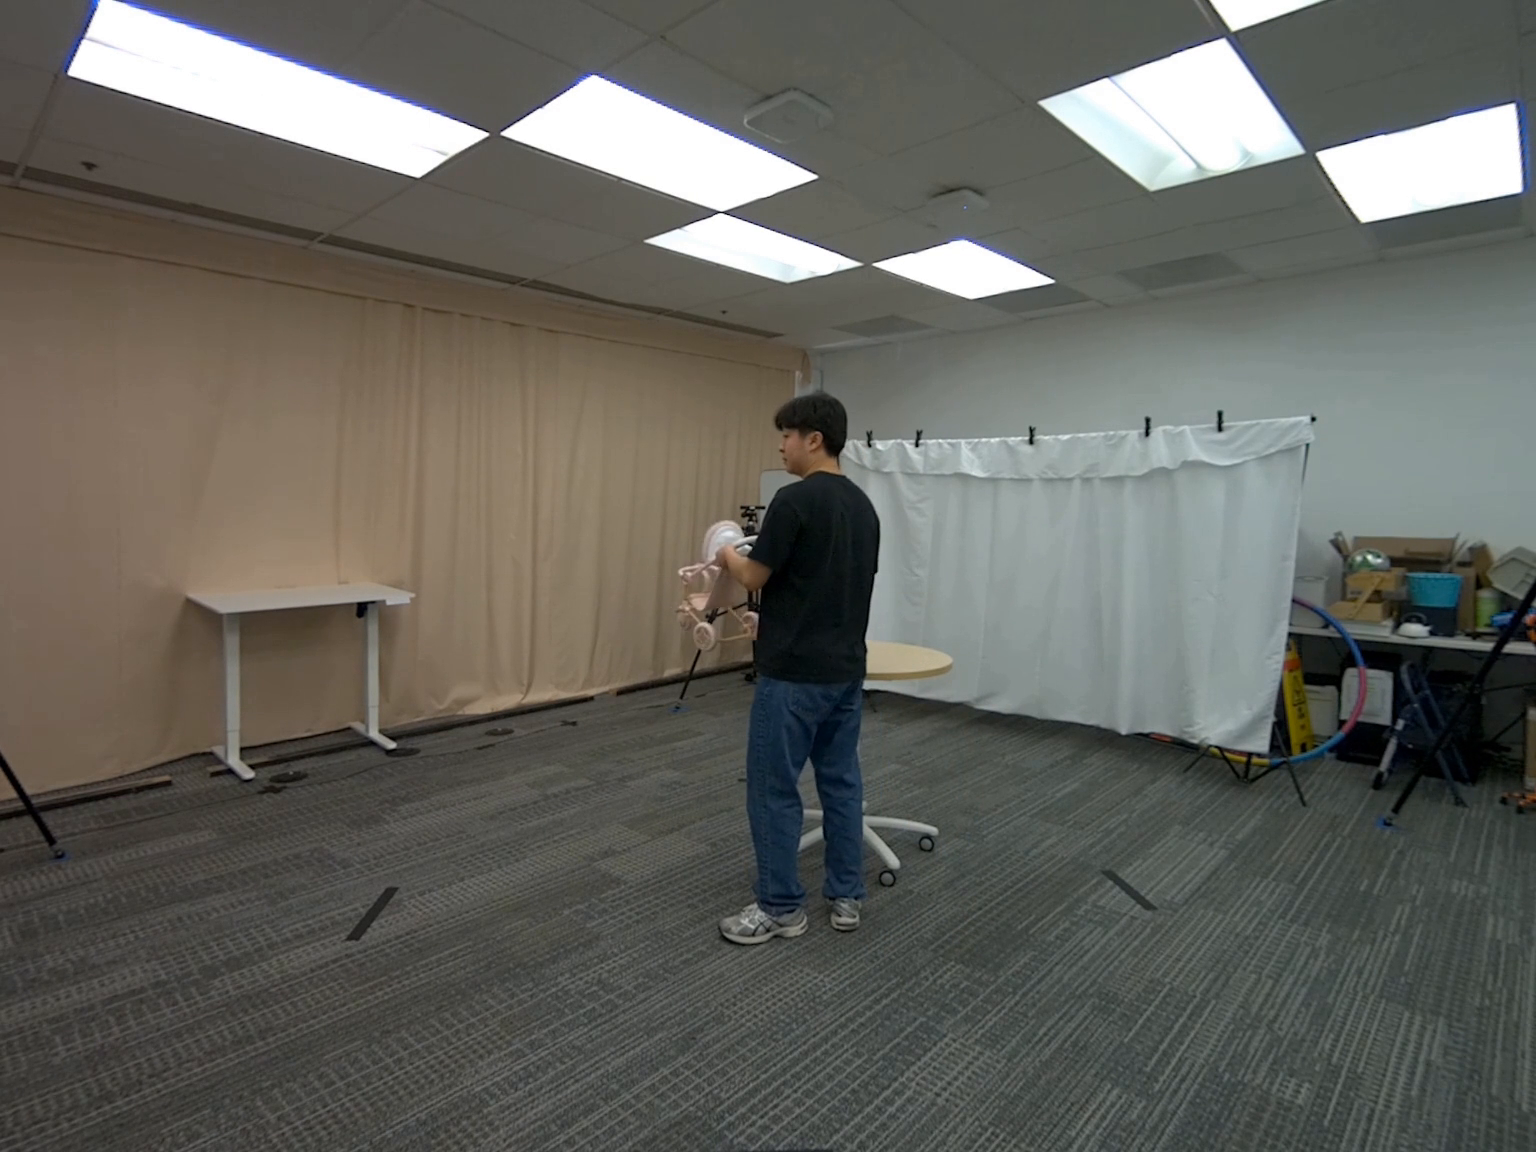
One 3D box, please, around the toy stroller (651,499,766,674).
[{"bbox_3d":[-0.181,0.028,3.193,0.273,0.531,0.354,-6,29,-42],"label":"toy stroller"}]
